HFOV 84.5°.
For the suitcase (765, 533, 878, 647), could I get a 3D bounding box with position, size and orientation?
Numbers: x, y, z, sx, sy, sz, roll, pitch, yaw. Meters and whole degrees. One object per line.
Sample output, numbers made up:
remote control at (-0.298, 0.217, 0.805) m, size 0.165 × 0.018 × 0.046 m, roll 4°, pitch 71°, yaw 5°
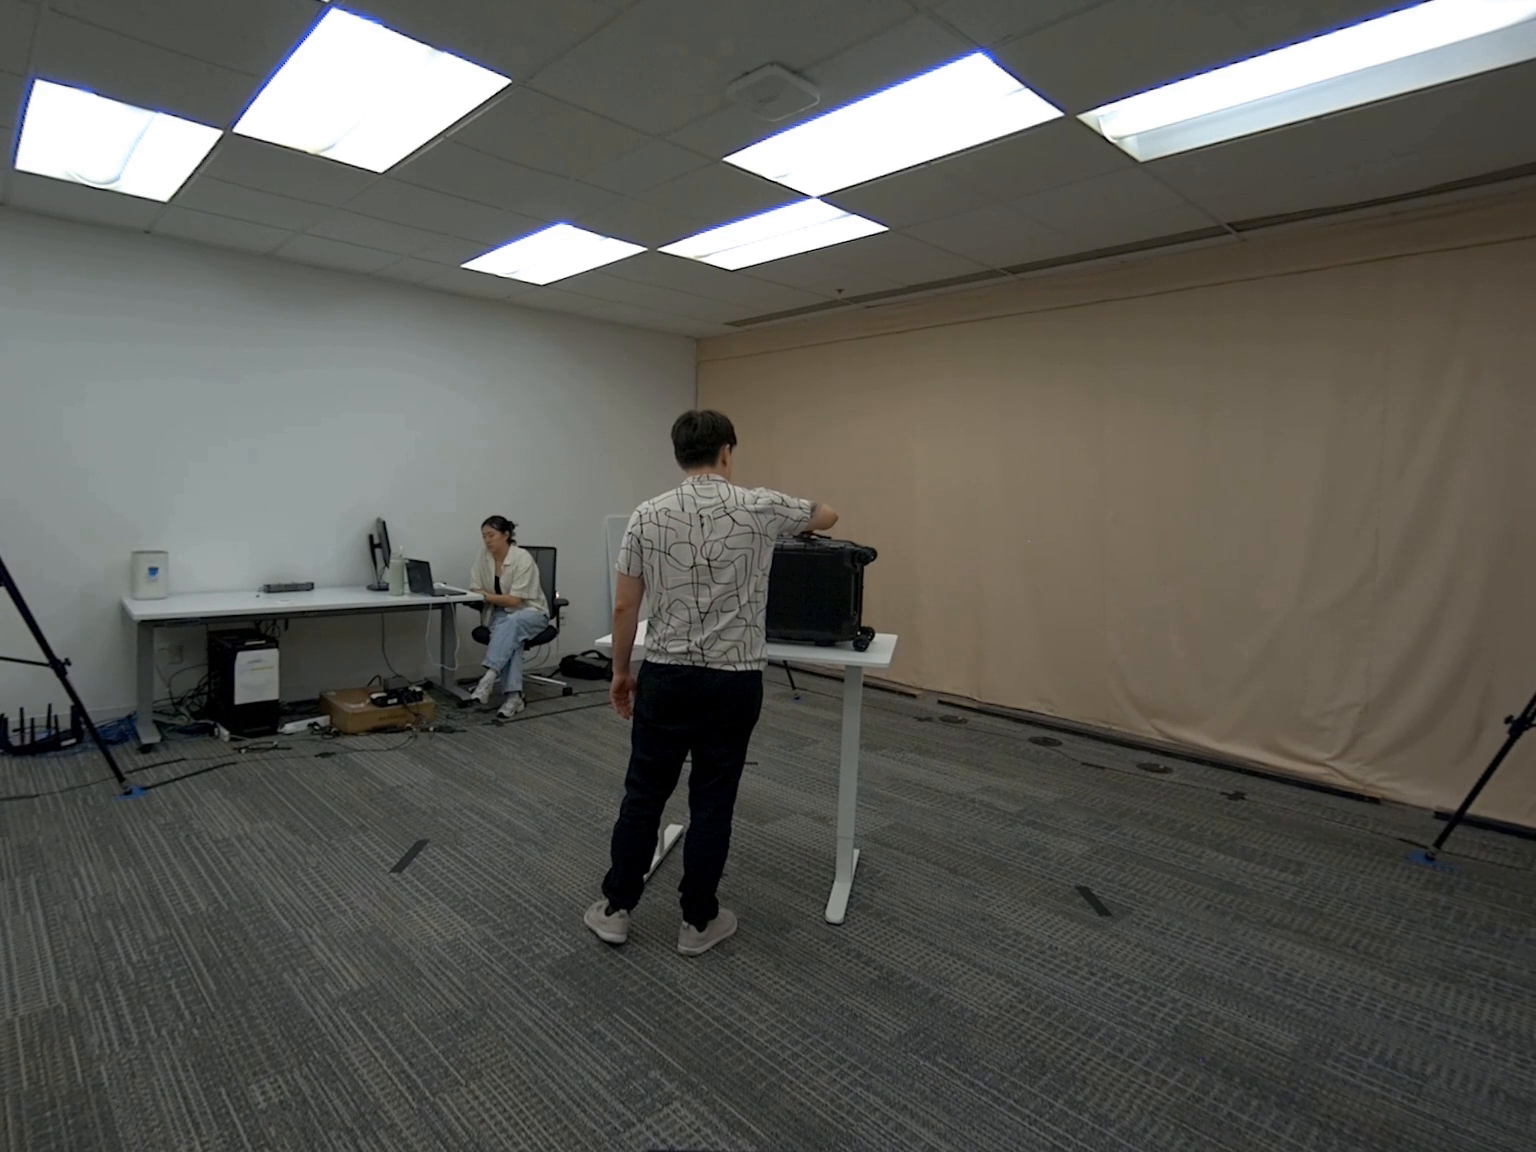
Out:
suitcase at (0.098, 0.044, 3.022) m, size 0.556 × 0.374 × 0.246 m, roll 3°, pitch 4°, yaw 15°
